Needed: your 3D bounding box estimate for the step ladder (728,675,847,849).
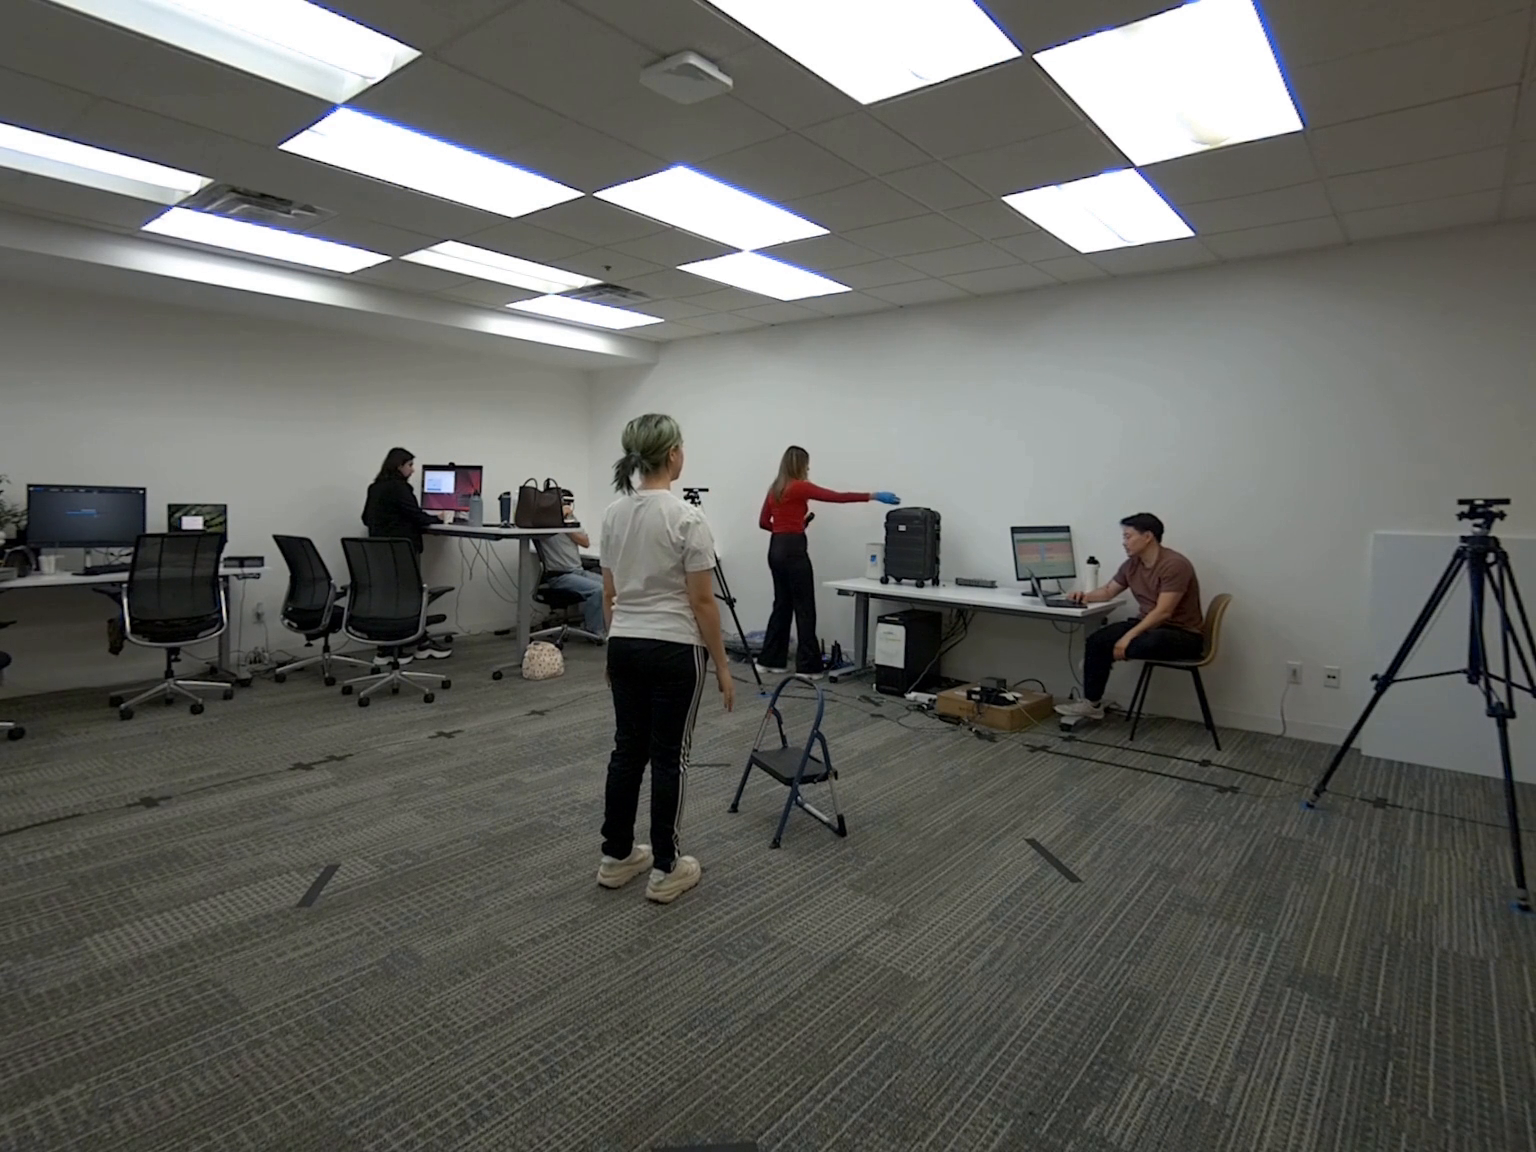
[{"bbox_3d":[0.077,0.729,3.543,0.341,0.604,0.443,0,4,-26],"label":"step ladder"}]
